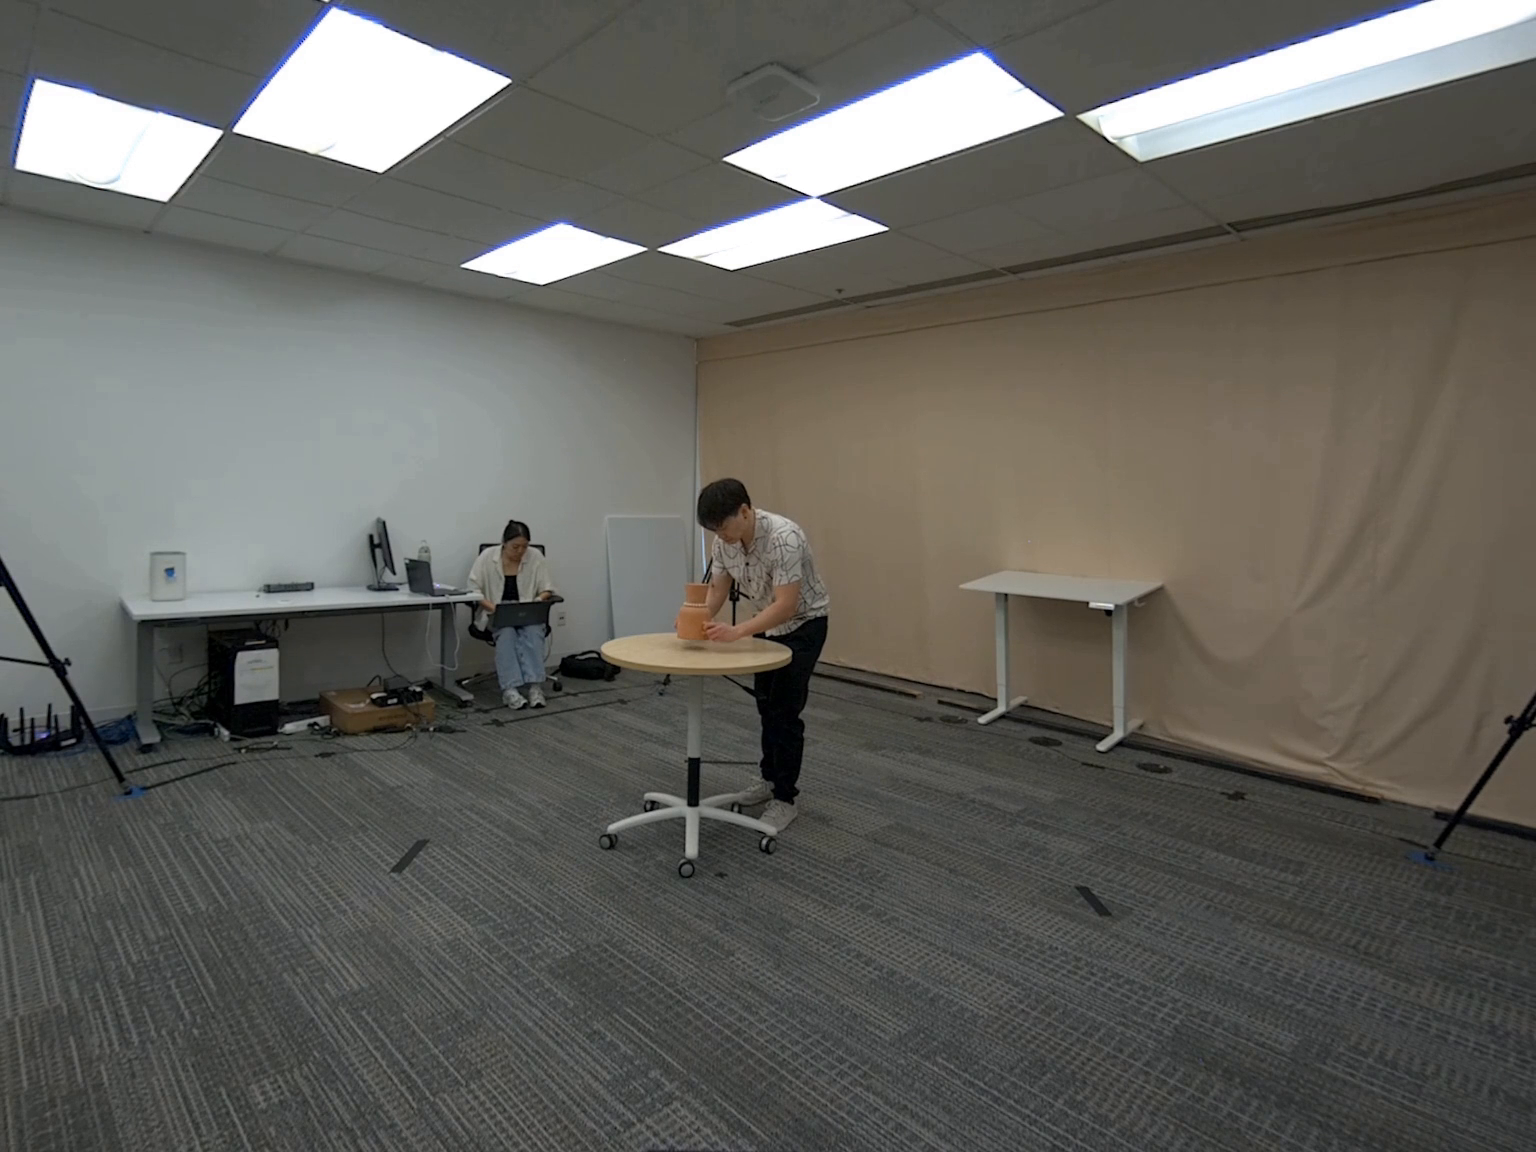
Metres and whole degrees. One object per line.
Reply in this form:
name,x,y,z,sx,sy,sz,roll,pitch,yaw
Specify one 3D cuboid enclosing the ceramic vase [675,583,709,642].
ceramic vase,-0.303,0.144,3.386,0.161,0.220,0.133,3,0,13
